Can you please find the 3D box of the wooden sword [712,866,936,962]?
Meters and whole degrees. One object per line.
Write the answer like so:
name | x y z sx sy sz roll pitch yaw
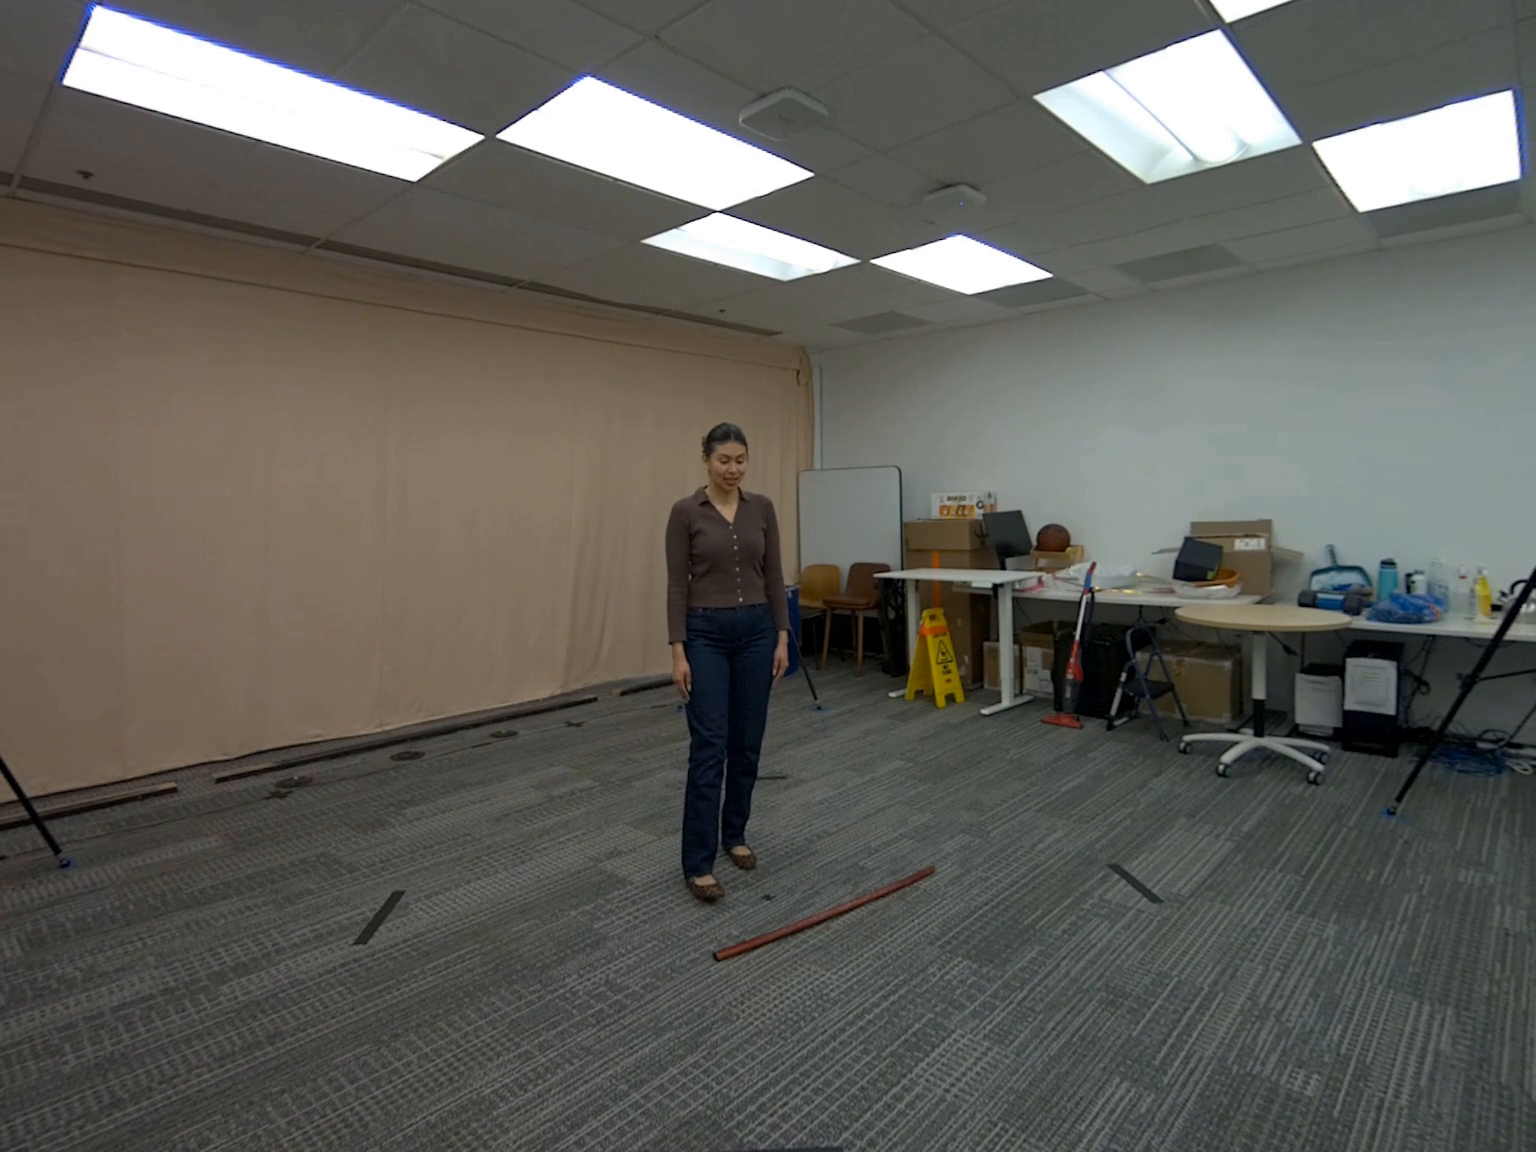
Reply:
wooden sword | 0.238 1.120 2.878 0.995 0.024 0.053 -4 39 -37
